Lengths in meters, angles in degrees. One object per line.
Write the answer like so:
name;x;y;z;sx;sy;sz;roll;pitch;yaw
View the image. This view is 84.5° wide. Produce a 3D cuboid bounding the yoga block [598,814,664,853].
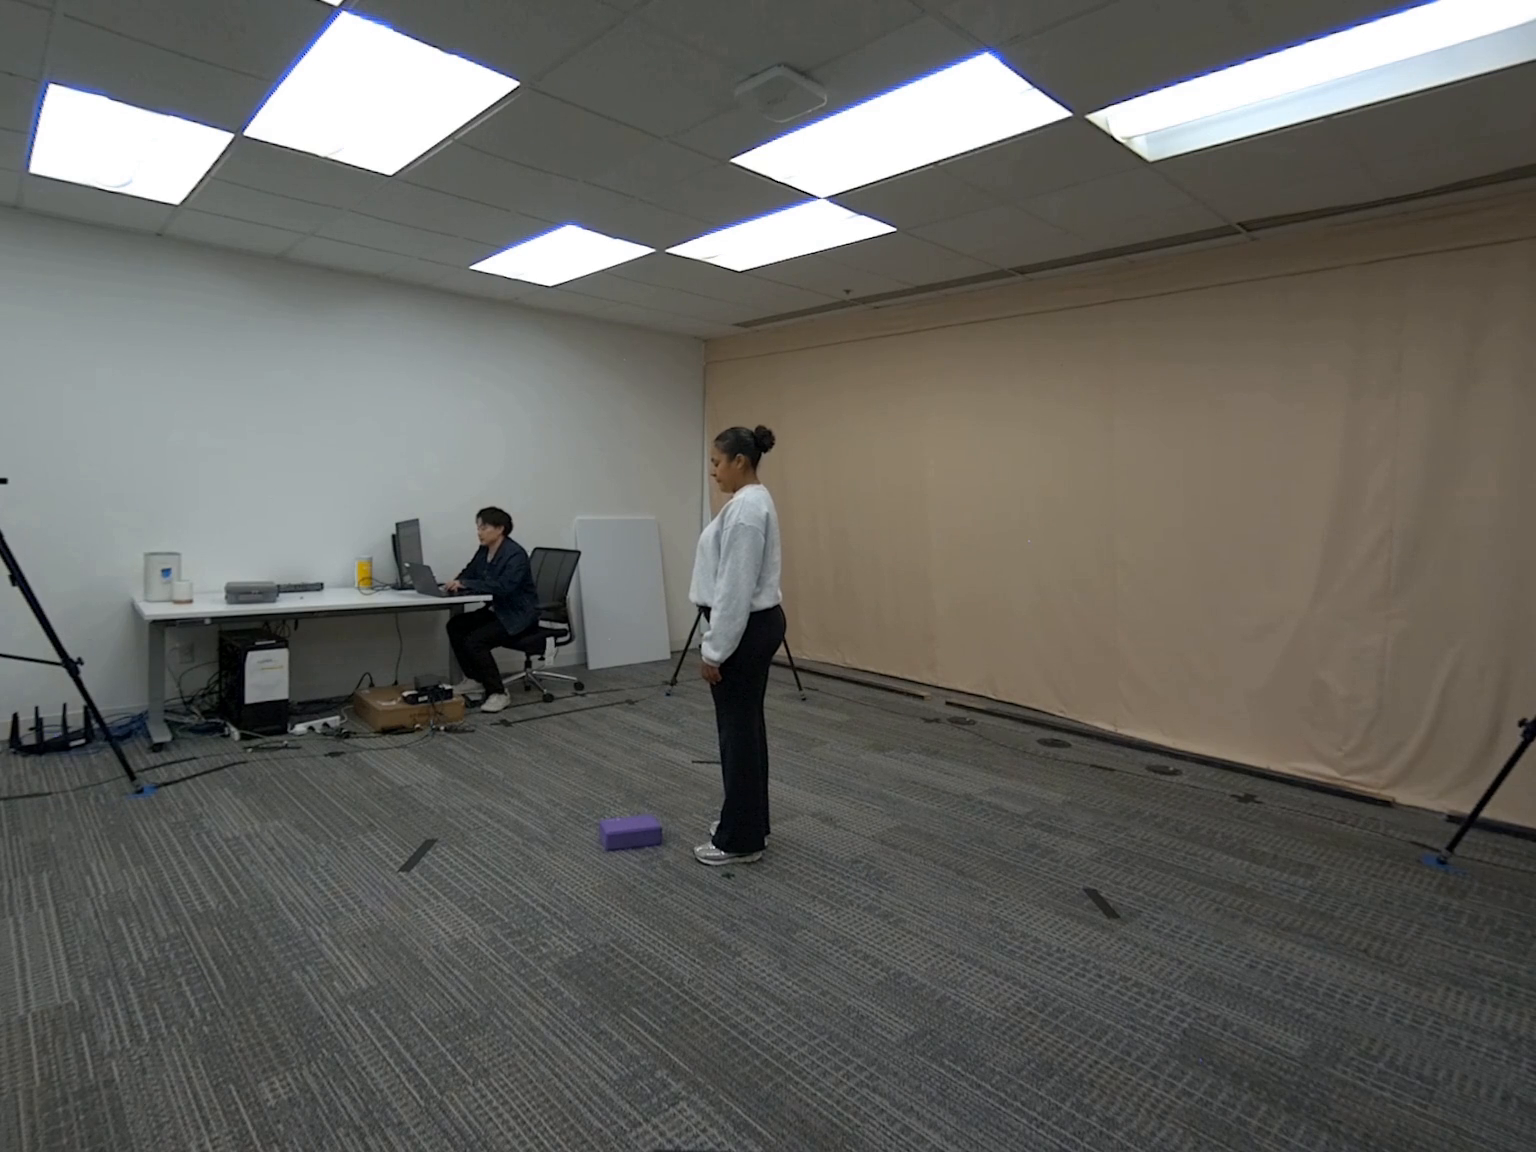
yoga block;-0.558;1.023;3.393;0.226;0.076;0.152;-2;7;-22
